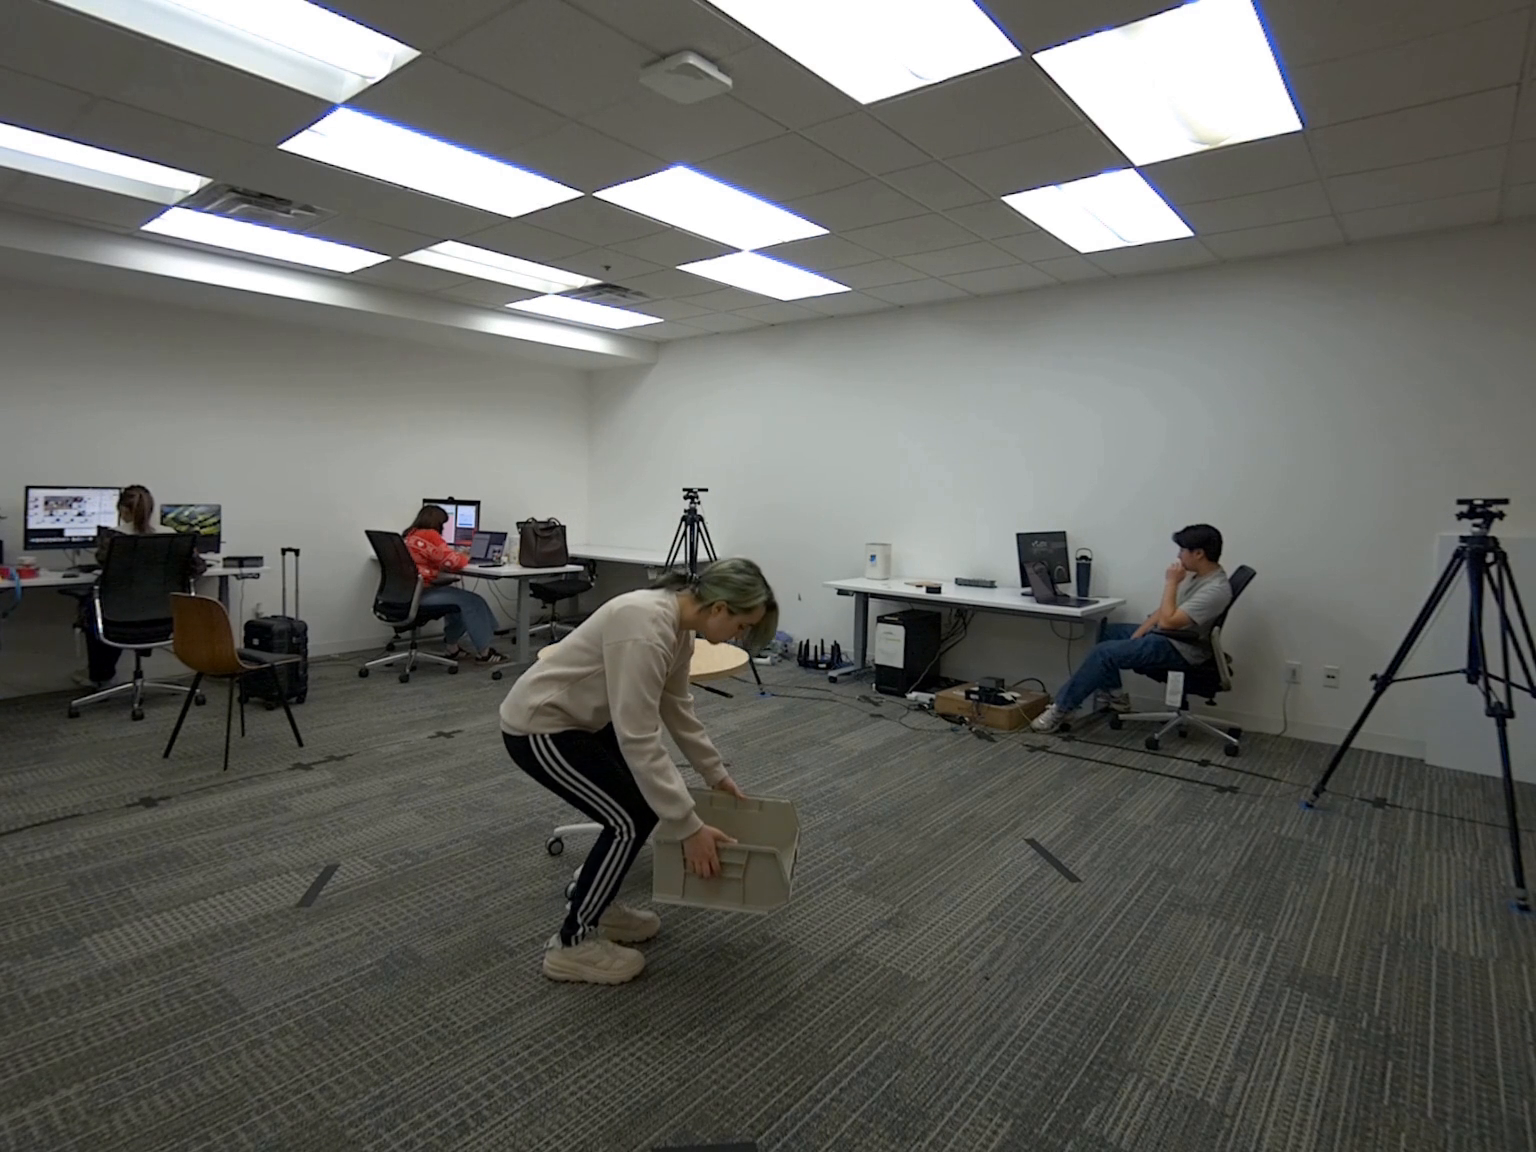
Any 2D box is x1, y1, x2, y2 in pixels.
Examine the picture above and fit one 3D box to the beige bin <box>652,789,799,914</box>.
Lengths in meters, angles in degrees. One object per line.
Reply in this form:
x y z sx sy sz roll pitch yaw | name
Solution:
-0.113 0.772 2.423 0.380 0.188 0.420 1 4 6 | beige bin
